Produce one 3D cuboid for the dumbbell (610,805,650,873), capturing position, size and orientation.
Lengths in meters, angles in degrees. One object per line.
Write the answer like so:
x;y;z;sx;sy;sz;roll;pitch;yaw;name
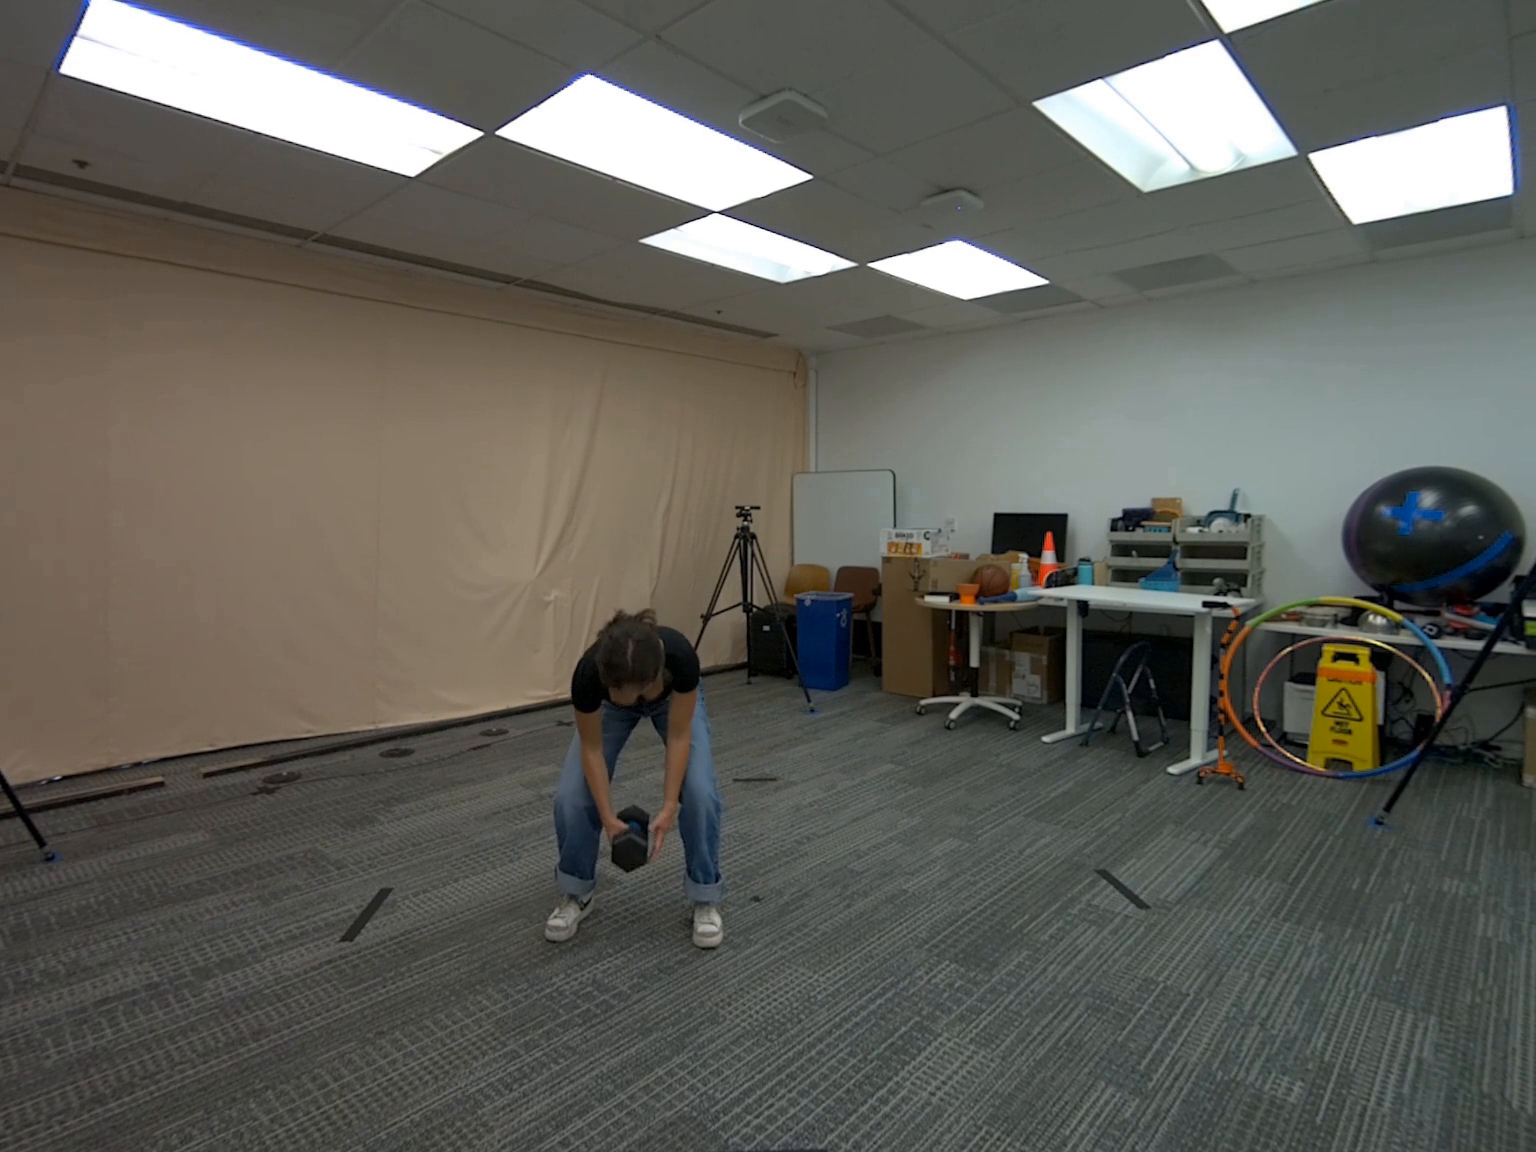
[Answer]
-0.427;0.816;2.630;0.108;0.123;0.295;5;1;-6;dumbbell
